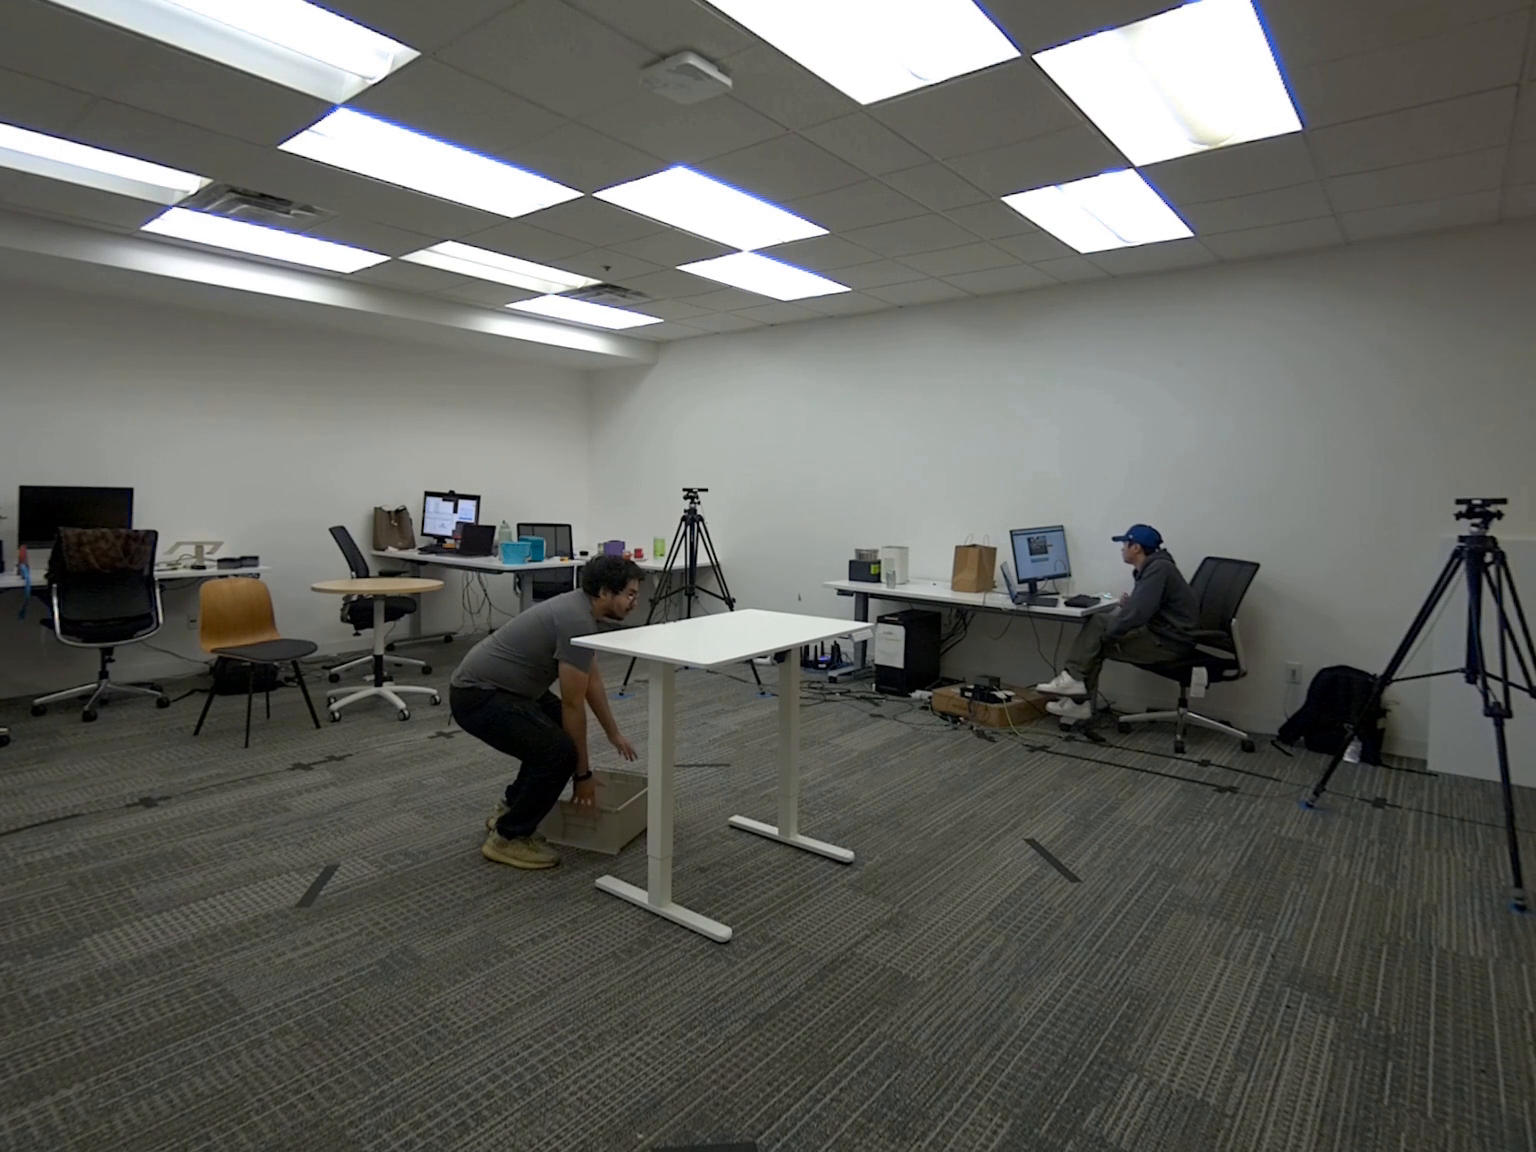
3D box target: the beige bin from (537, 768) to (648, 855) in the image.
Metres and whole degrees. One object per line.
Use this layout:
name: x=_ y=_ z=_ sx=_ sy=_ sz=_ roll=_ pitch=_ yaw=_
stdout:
beige bin: x=-0.694 y=0.943 z=3.463 sx=0.385 sy=0.188 sz=0.415 roll=4 pitch=5 yaw=19
